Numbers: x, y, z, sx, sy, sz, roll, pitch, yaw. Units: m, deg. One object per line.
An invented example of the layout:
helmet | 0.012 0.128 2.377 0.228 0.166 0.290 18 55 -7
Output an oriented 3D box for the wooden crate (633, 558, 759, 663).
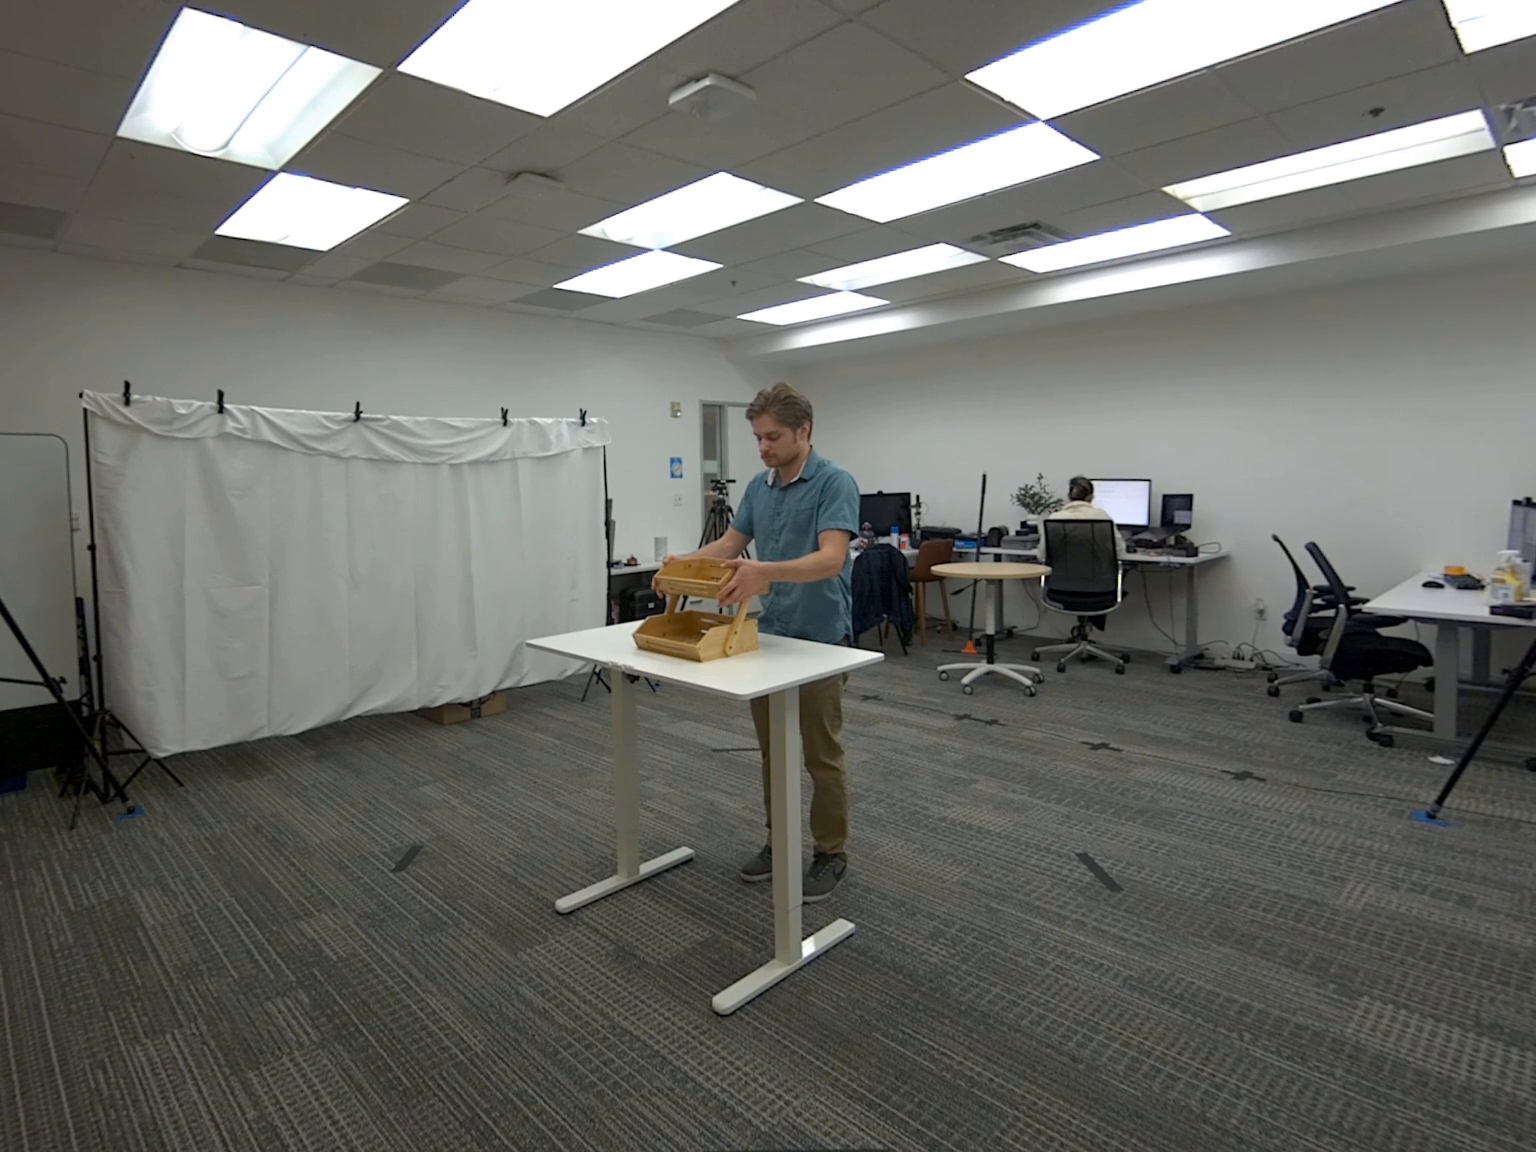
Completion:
wooden crate | -0.207 0.093 2.625 0.294 0.272 0.334 -6 7 -44
